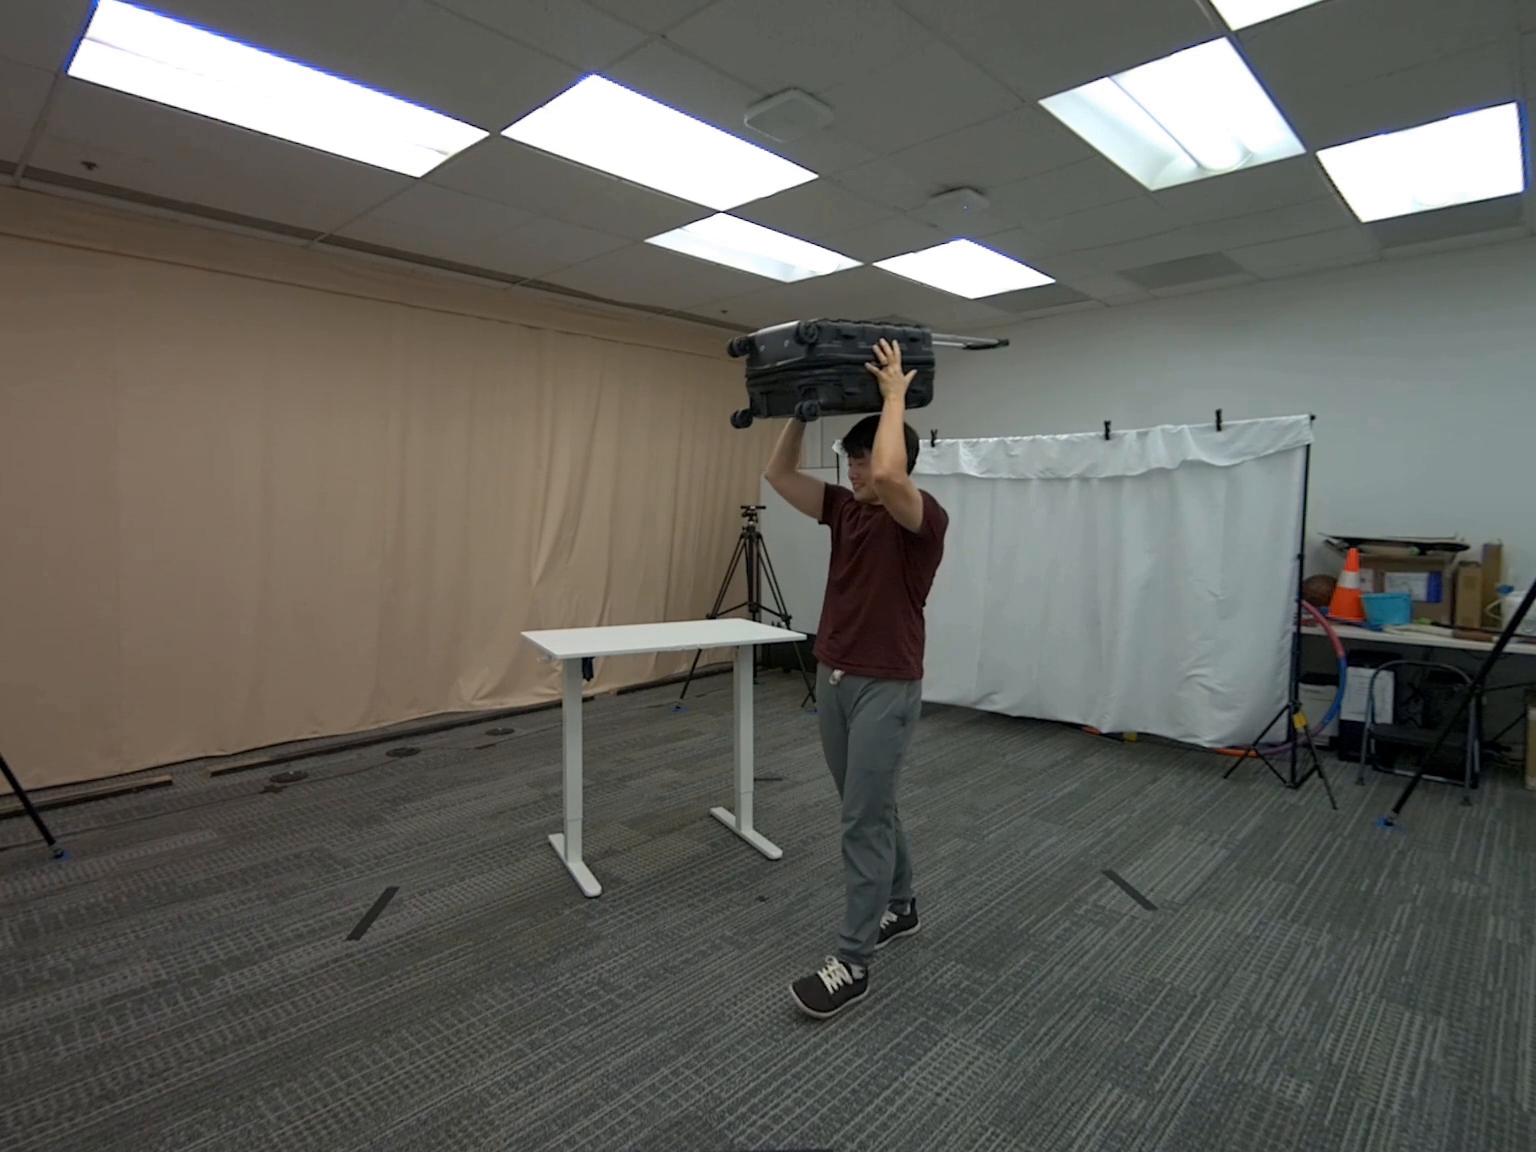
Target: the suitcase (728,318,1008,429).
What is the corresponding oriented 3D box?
[{"bbox_3d":[0.366,-0.621,2.577,0.952,0.256,0.396,-9,9,-35],"label":"suitcase"}]
